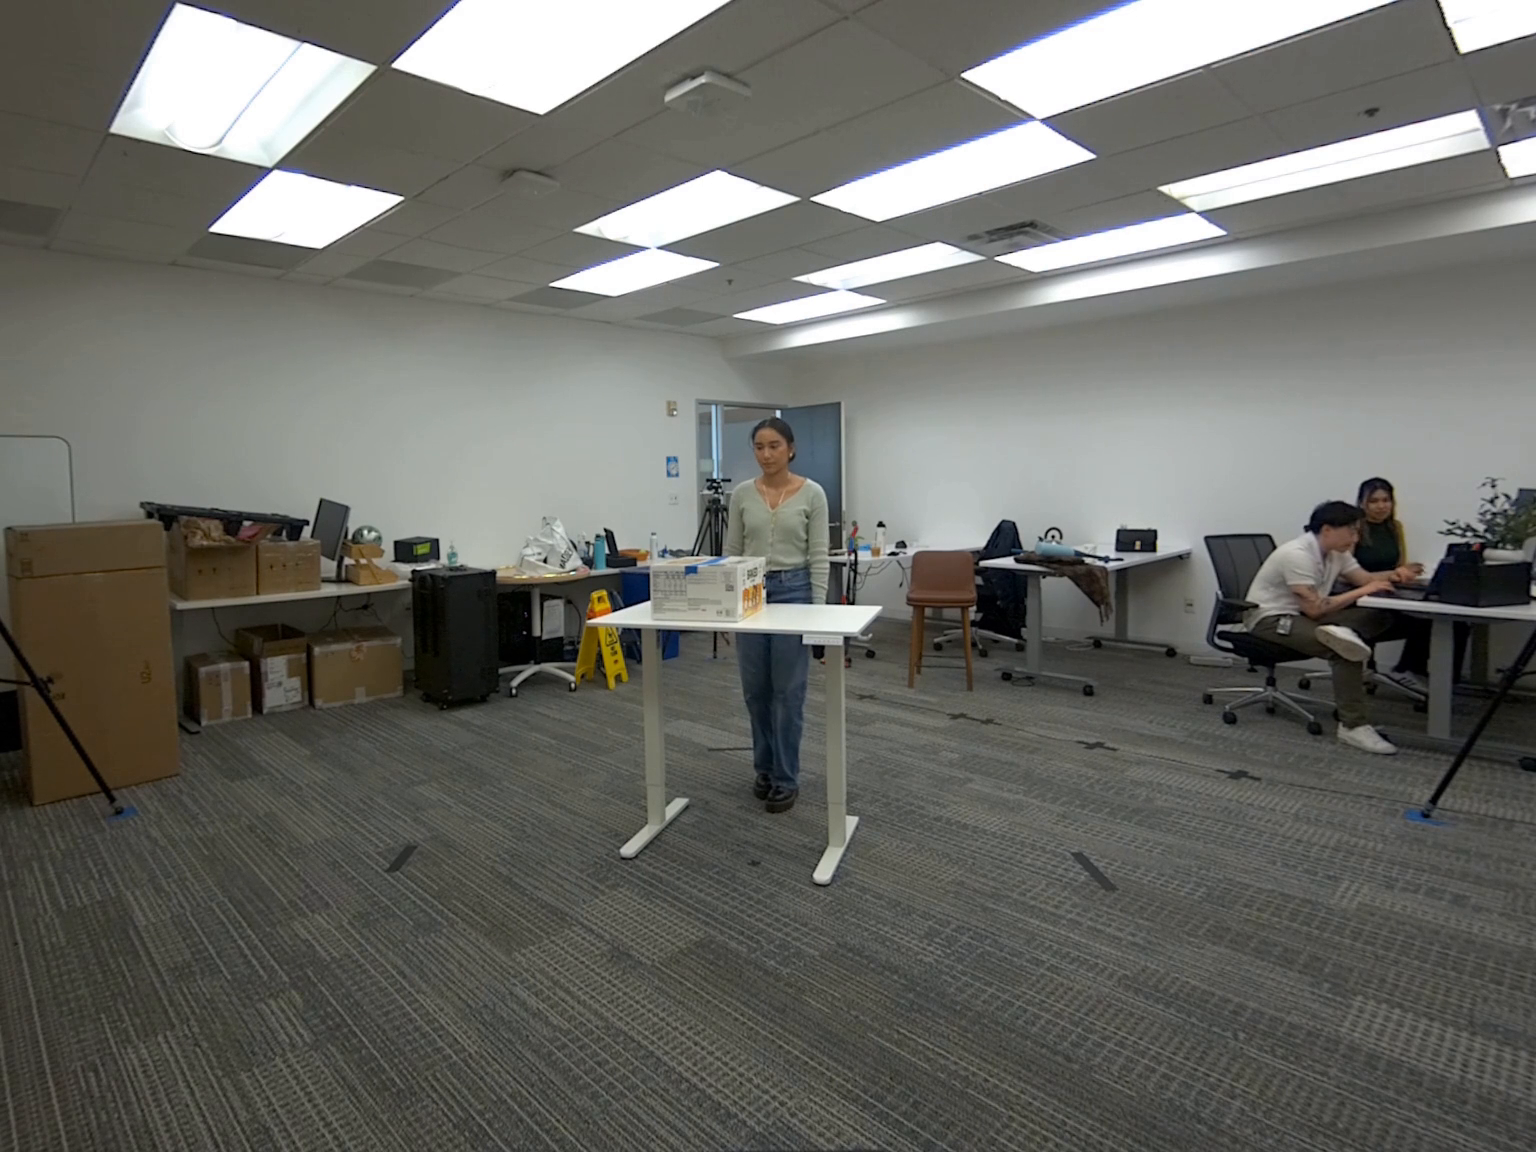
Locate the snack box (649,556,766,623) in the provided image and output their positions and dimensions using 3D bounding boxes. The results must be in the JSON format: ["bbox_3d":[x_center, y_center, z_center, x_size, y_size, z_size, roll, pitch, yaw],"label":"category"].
[{"bbox_3d":[-0.219,0.045,3.287,0.346,0.205,0.400,0,5,16],"label":"snack box"}]
